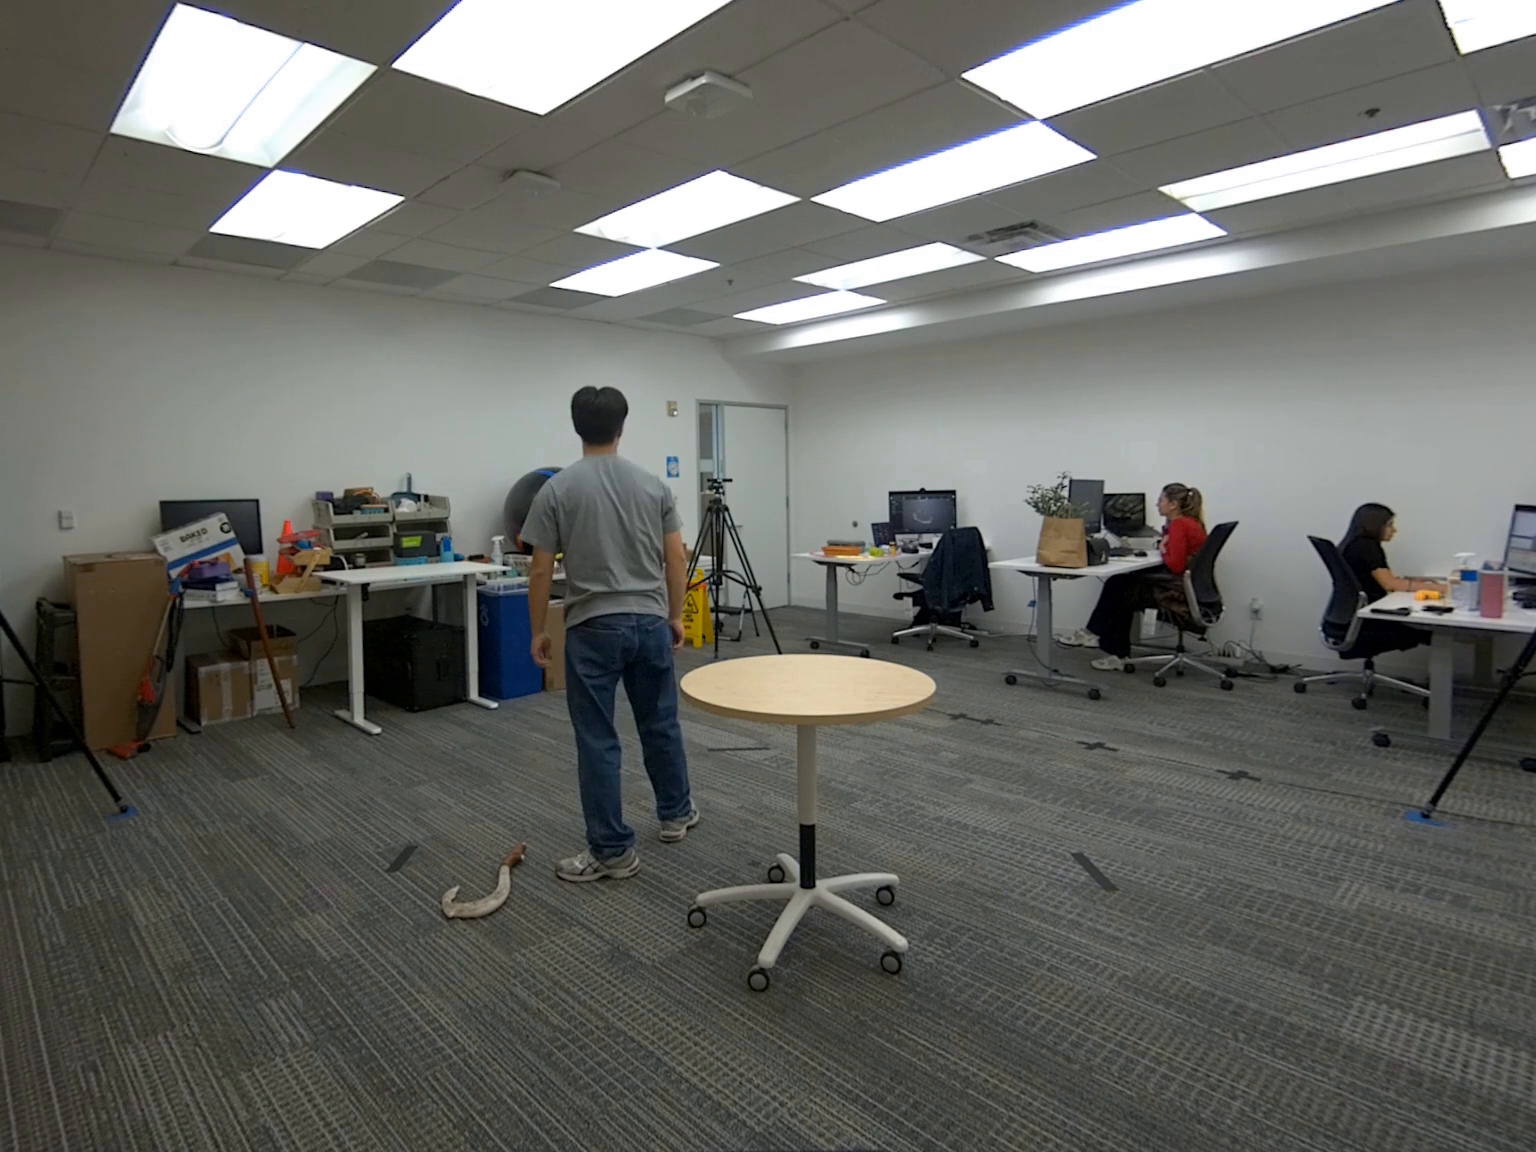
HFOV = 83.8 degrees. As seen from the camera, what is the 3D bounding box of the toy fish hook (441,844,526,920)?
[{"bbox_3d":[-0.978,1.054,2.994,0.225,0.048,0.508,0,6,0],"label":"toy fish hook"}]
